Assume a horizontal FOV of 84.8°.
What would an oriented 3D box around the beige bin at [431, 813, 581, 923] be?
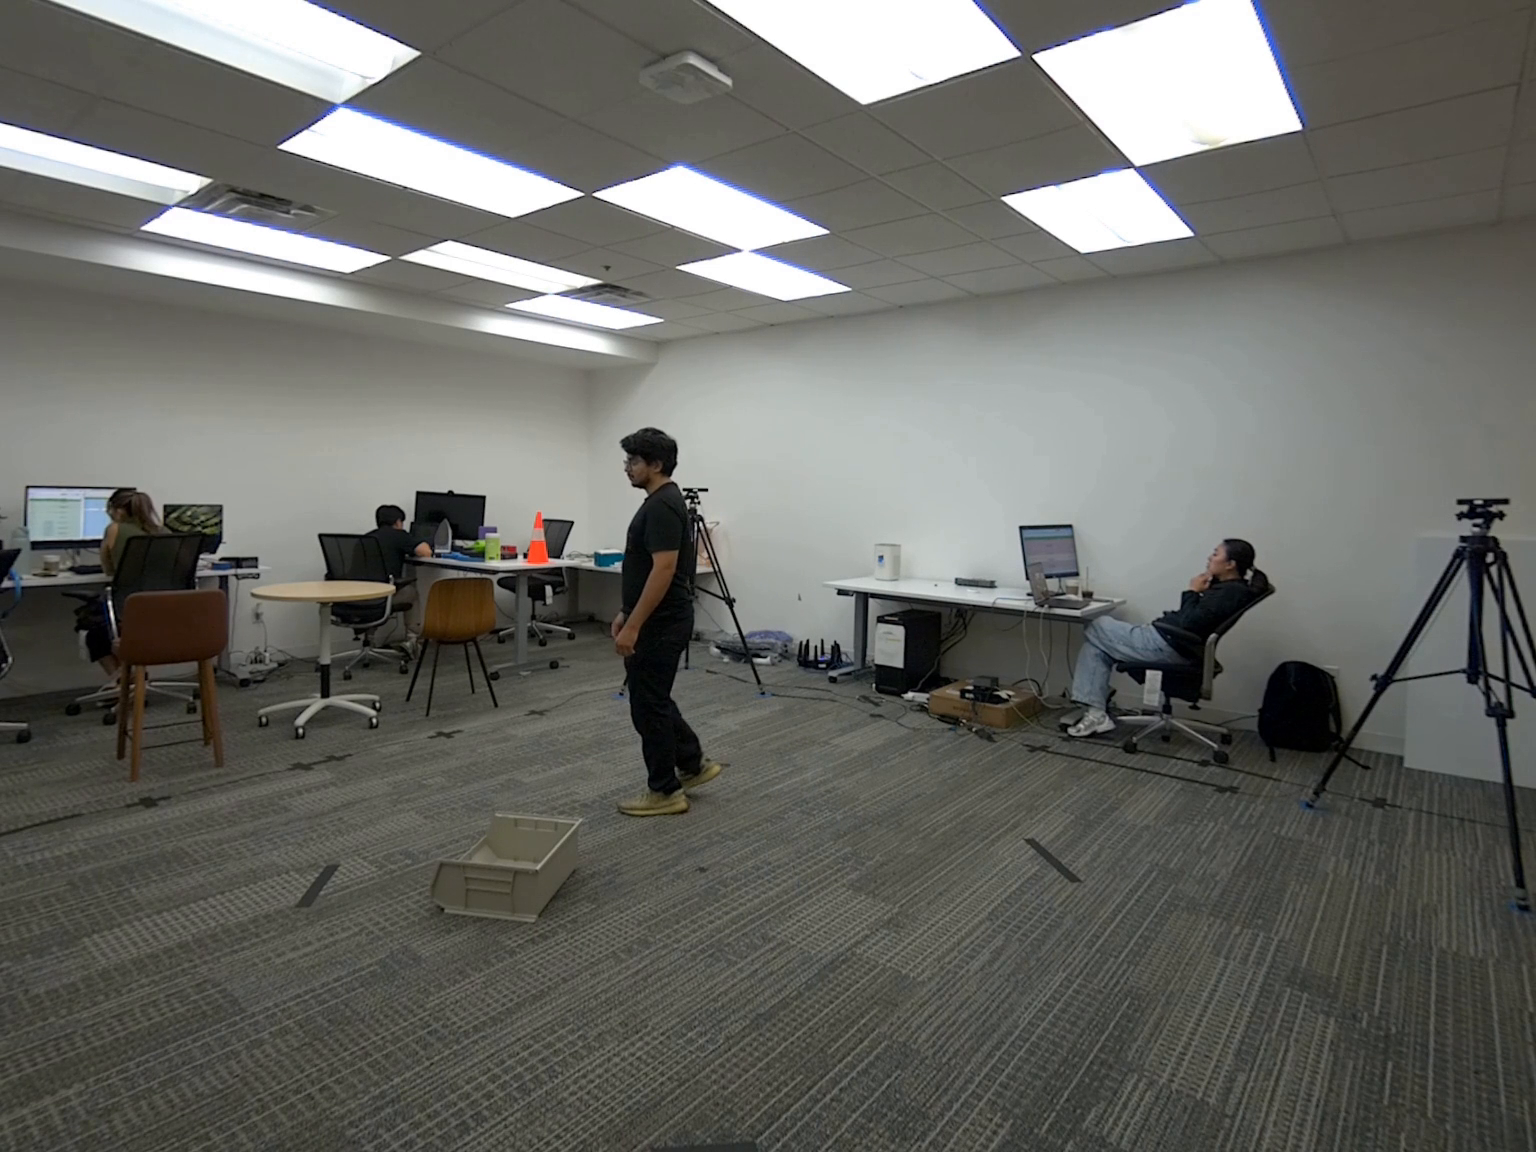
[{"bbox_3d":[-0.902,0.987,2.928,0.381,0.188,0.419,3,5,8],"label":"beige bin"}]
